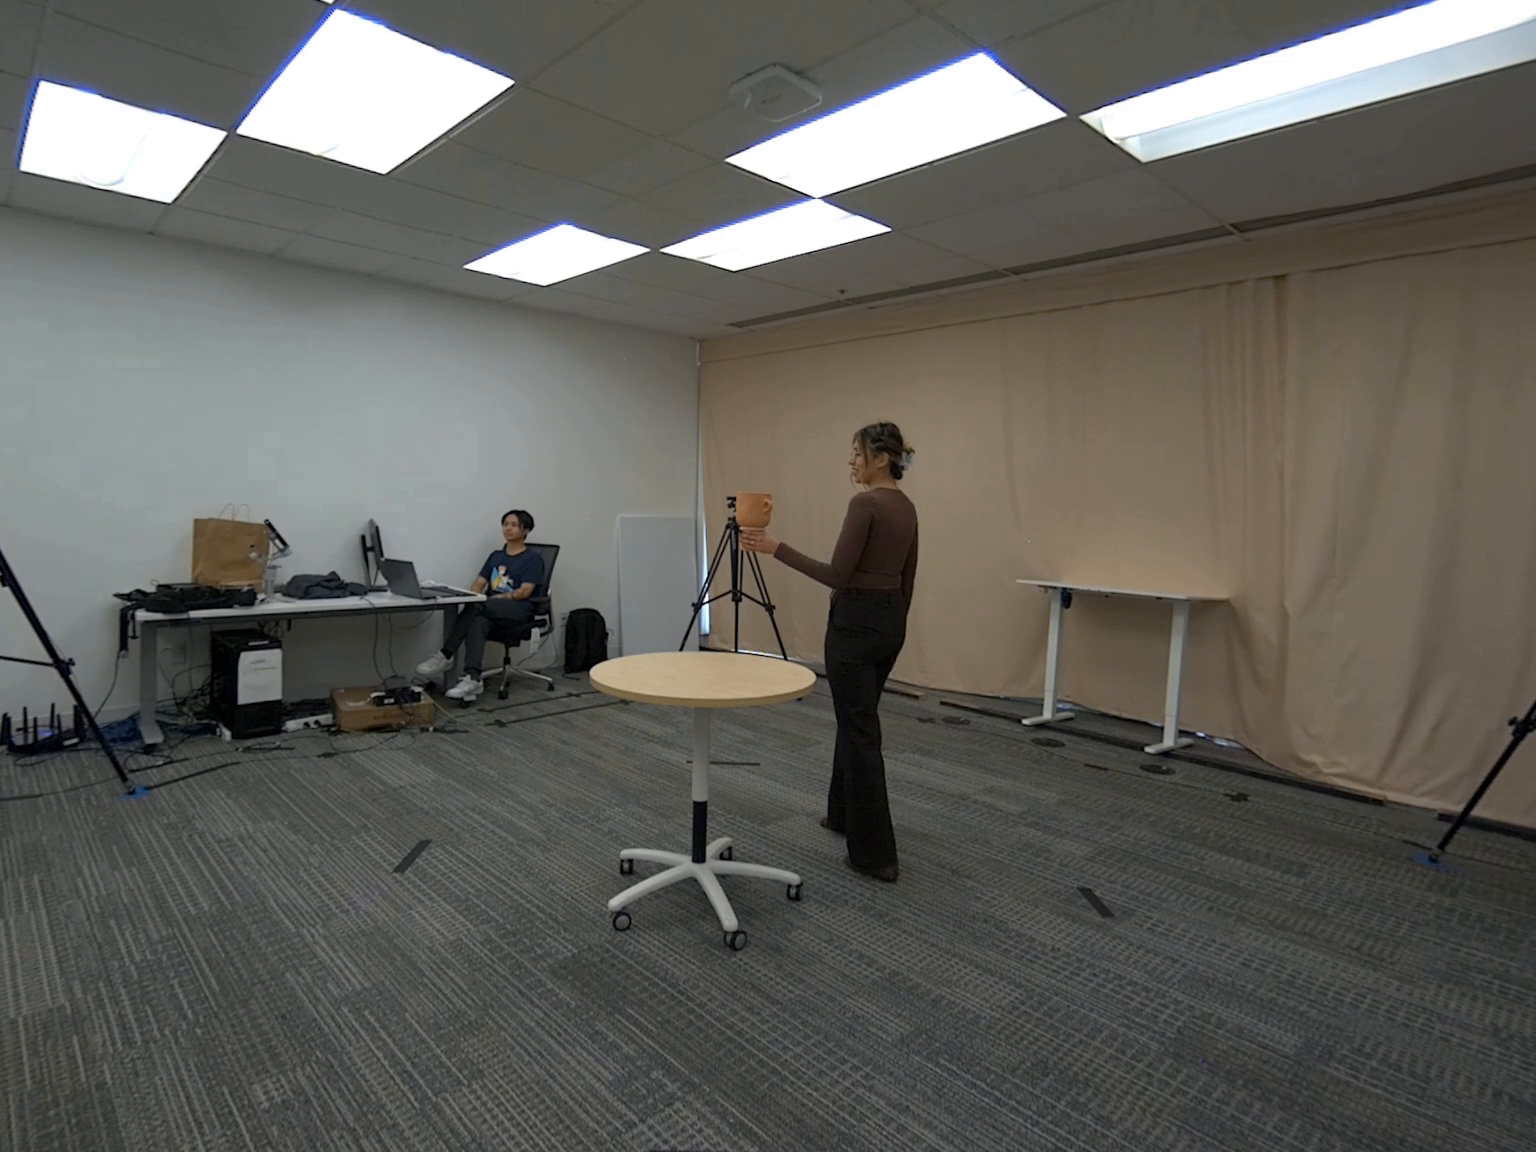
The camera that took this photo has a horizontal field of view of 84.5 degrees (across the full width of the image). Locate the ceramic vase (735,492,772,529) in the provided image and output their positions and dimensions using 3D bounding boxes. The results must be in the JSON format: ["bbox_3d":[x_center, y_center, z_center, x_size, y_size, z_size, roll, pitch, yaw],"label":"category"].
[{"bbox_3d":[-0.057,-0.210,3.192,0.134,0.219,0.159,2,5,-1],"label":"ceramic vase"}]
